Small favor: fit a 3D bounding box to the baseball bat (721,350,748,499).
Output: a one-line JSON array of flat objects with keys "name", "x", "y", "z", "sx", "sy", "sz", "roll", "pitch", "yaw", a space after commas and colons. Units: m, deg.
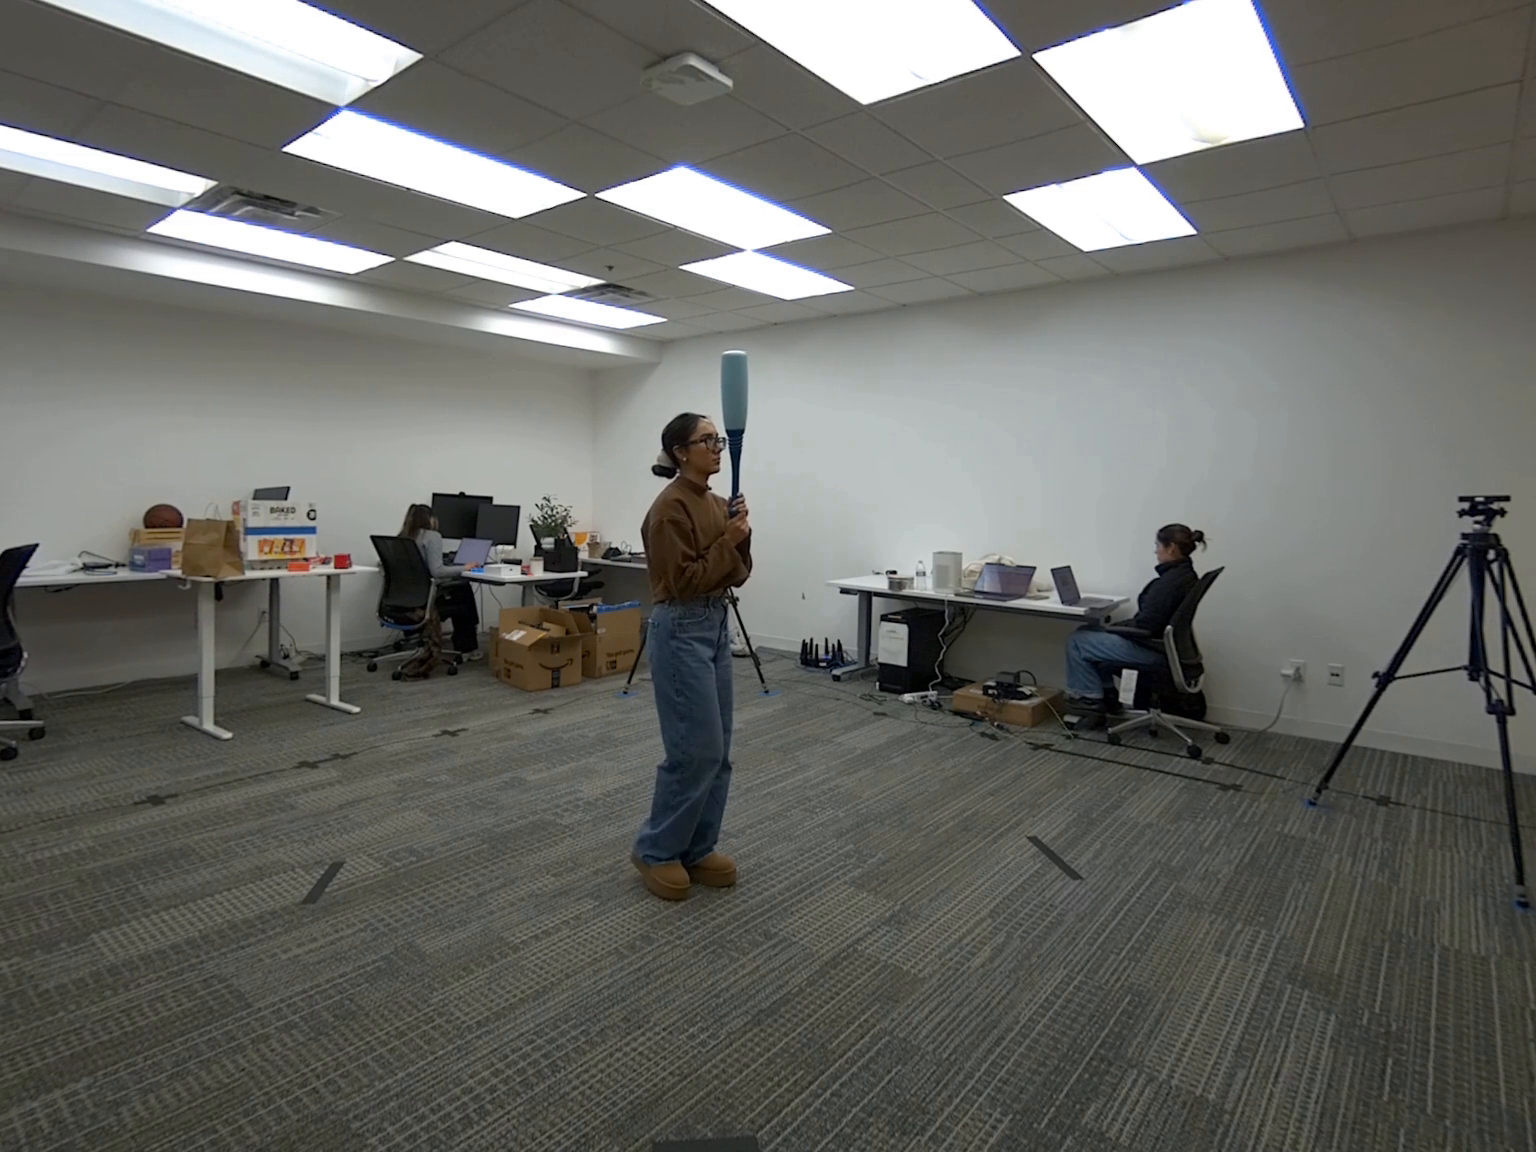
[{"name": "baseball bat", "x": -0.121, "y": -0.475, "z": 2.818, "sx": 0.089, "sy": 0.536, "sz": 0.090, "roll": 0, "pitch": 13, "yaw": -2}]
